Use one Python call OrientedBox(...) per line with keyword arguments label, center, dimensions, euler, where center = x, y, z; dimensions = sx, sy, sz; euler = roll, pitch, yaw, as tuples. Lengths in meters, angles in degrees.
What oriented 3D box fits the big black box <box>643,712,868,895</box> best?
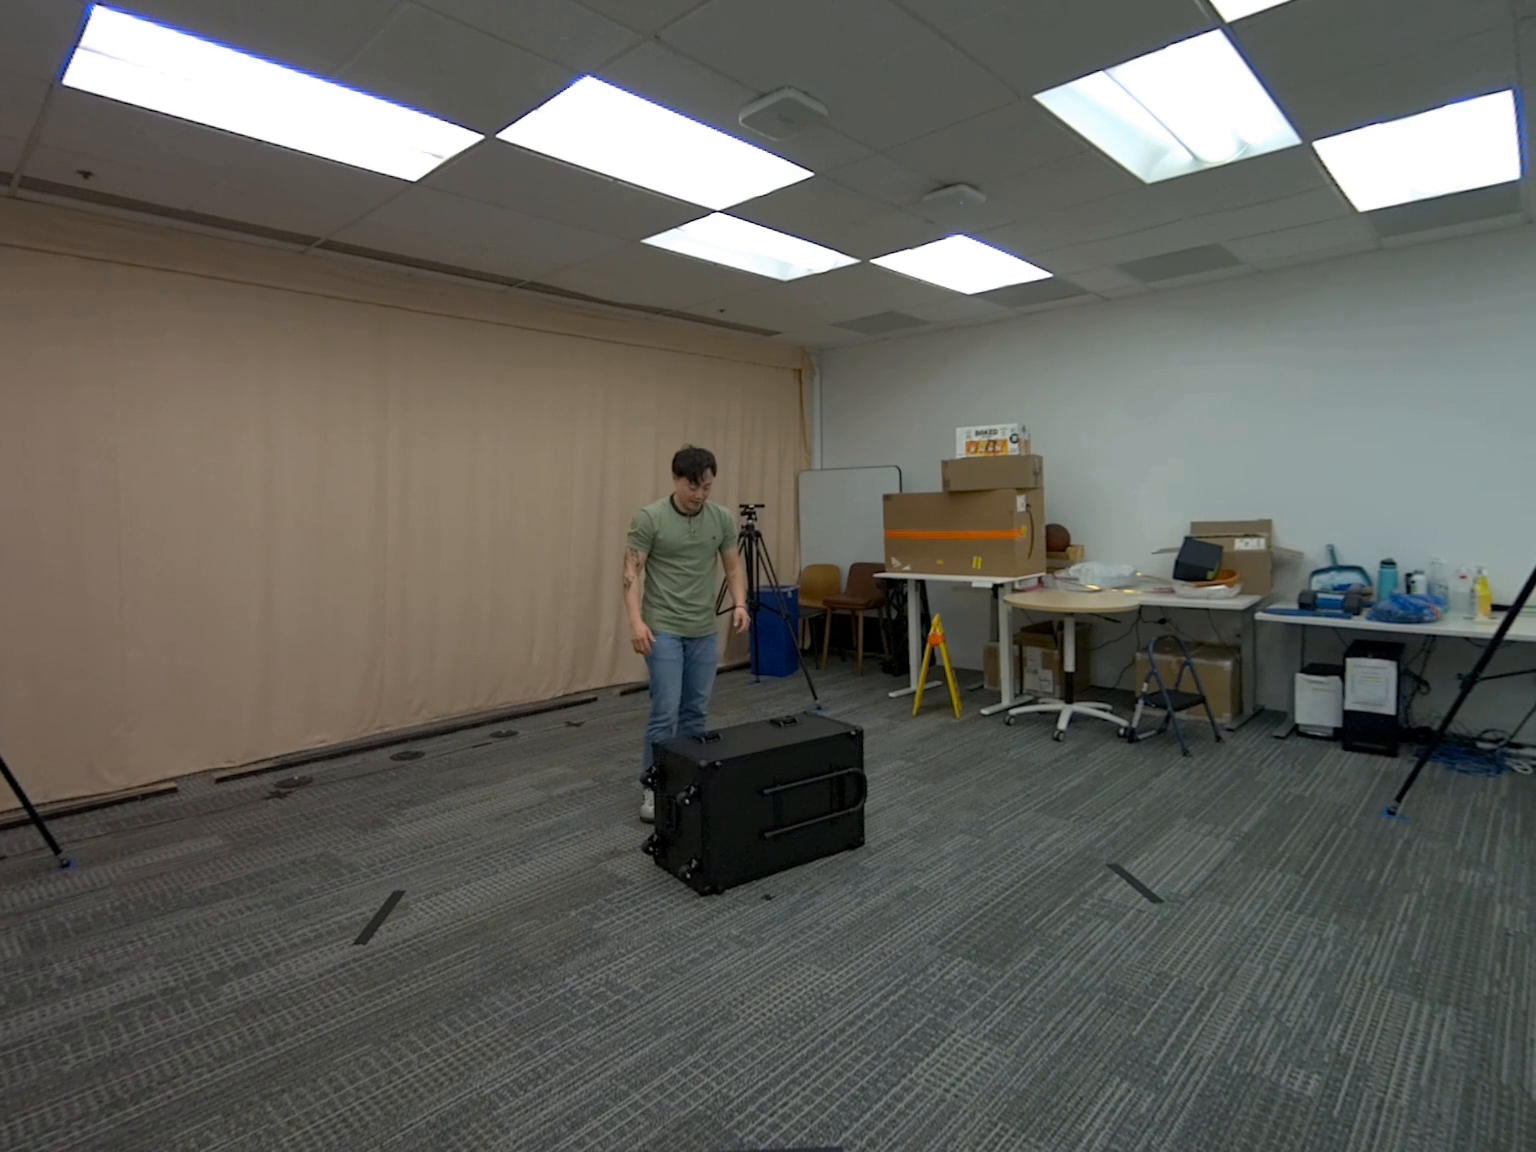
OrientedBox(label="big black box", center=(-0.043, 0.870, 3.308), dimensions=(0.837, 0.520, 0.408), euler=(-5, 5, -34))
